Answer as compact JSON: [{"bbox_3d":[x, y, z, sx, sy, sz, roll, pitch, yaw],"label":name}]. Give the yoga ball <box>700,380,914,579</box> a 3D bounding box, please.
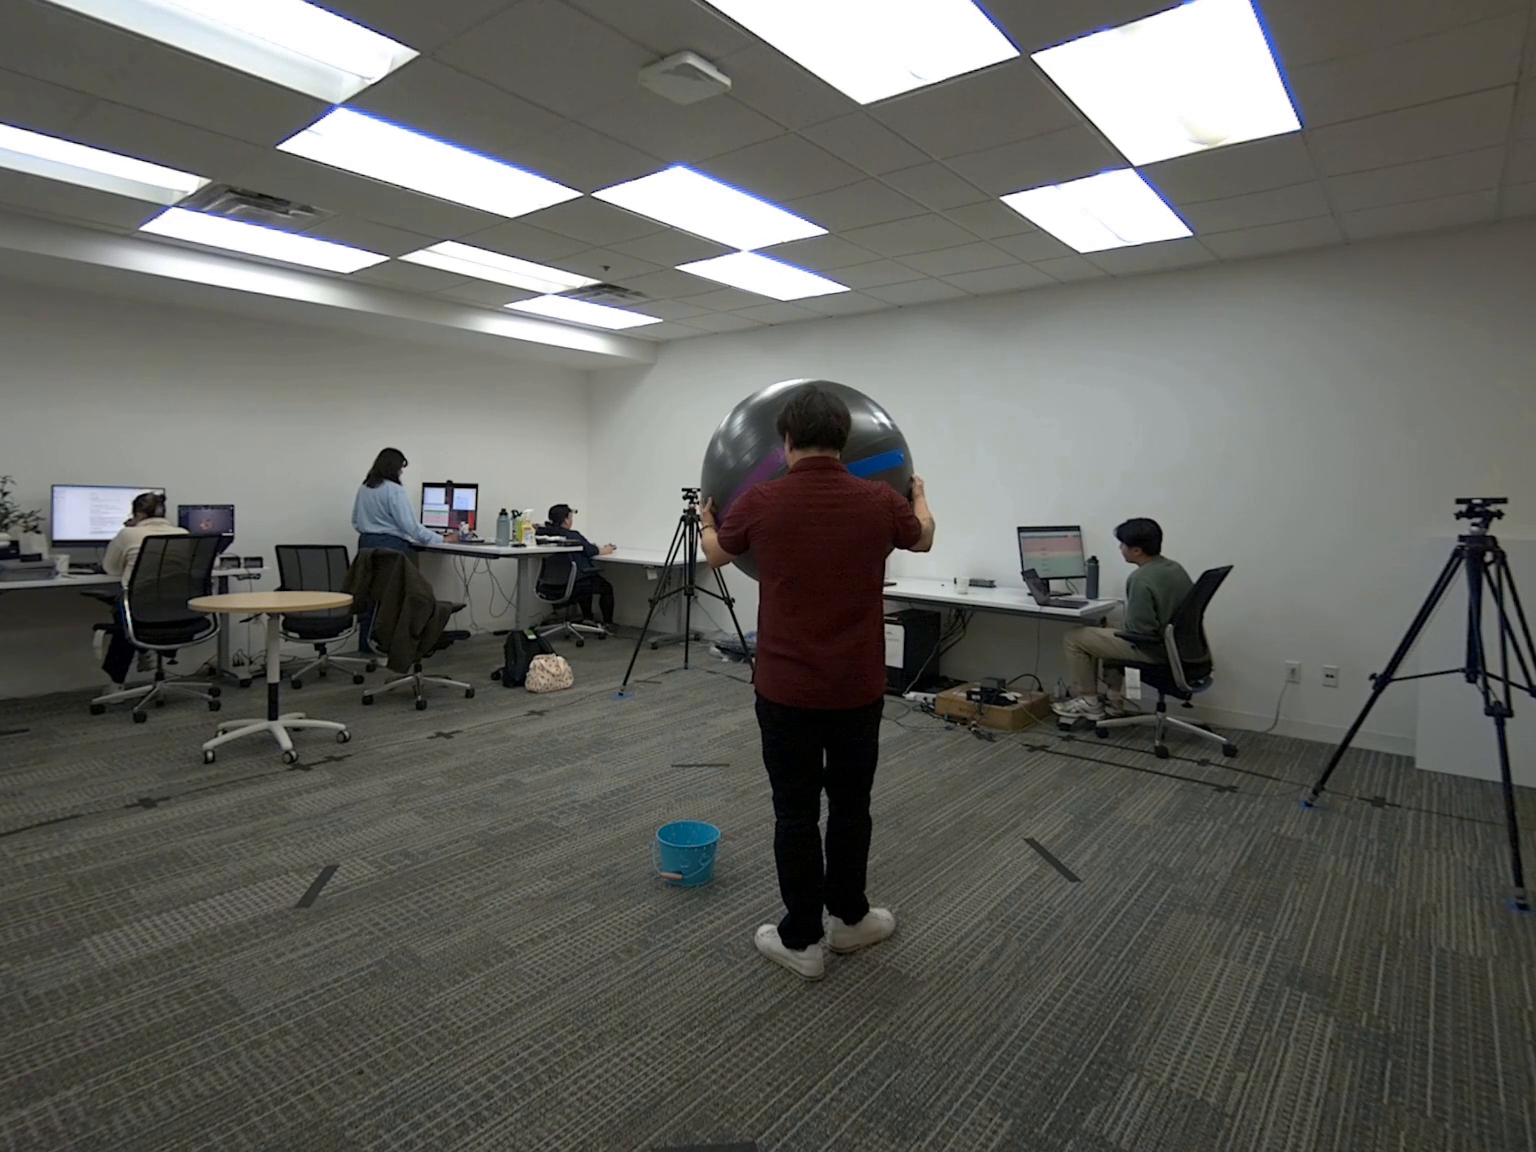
[{"bbox_3d":[0.133,-0.321,3.039,0.757,0.756,0.761,1,4,-2],"label":"yoga ball"}]
